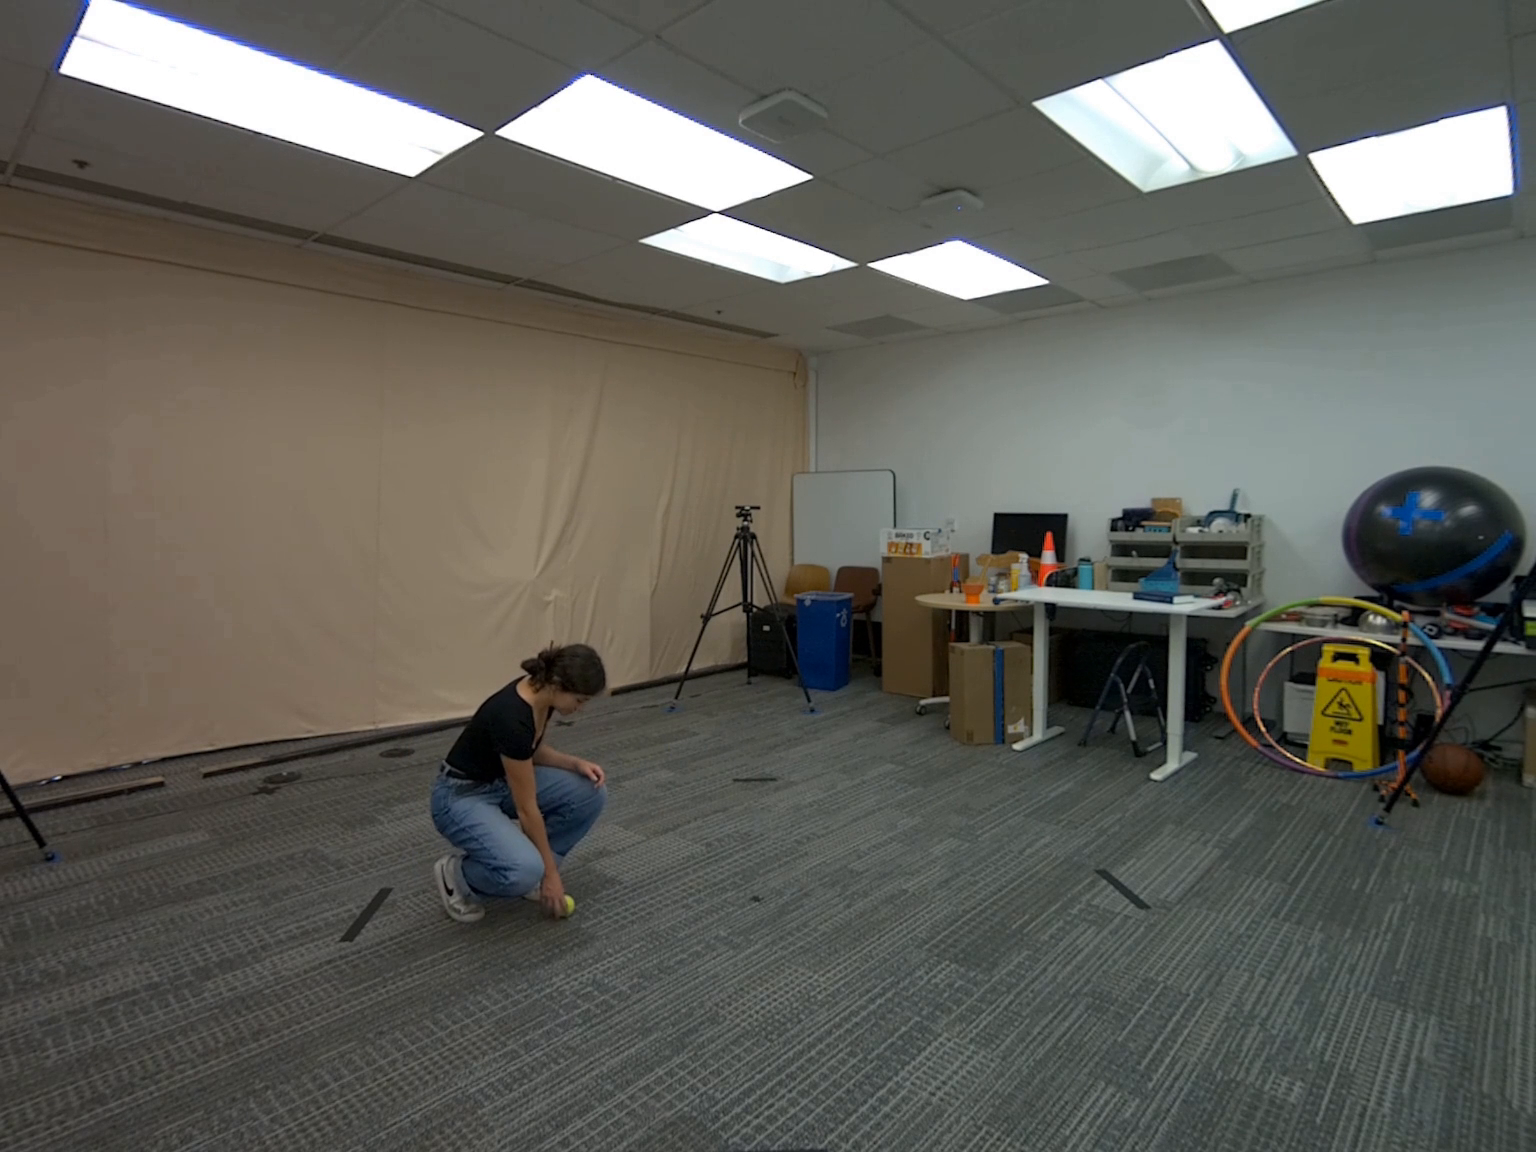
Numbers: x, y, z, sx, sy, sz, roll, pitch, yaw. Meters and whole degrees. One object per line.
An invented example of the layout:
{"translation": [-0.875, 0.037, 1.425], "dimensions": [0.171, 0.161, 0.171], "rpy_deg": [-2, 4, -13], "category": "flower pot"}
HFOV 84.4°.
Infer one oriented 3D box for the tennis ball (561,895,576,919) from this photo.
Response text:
{"translation": [-0.698, 1.122, 2.854], "dimensions": [0.066, 0.066, 0.067], "rpy_deg": [0, 4, -2], "category": "tennis ball"}
